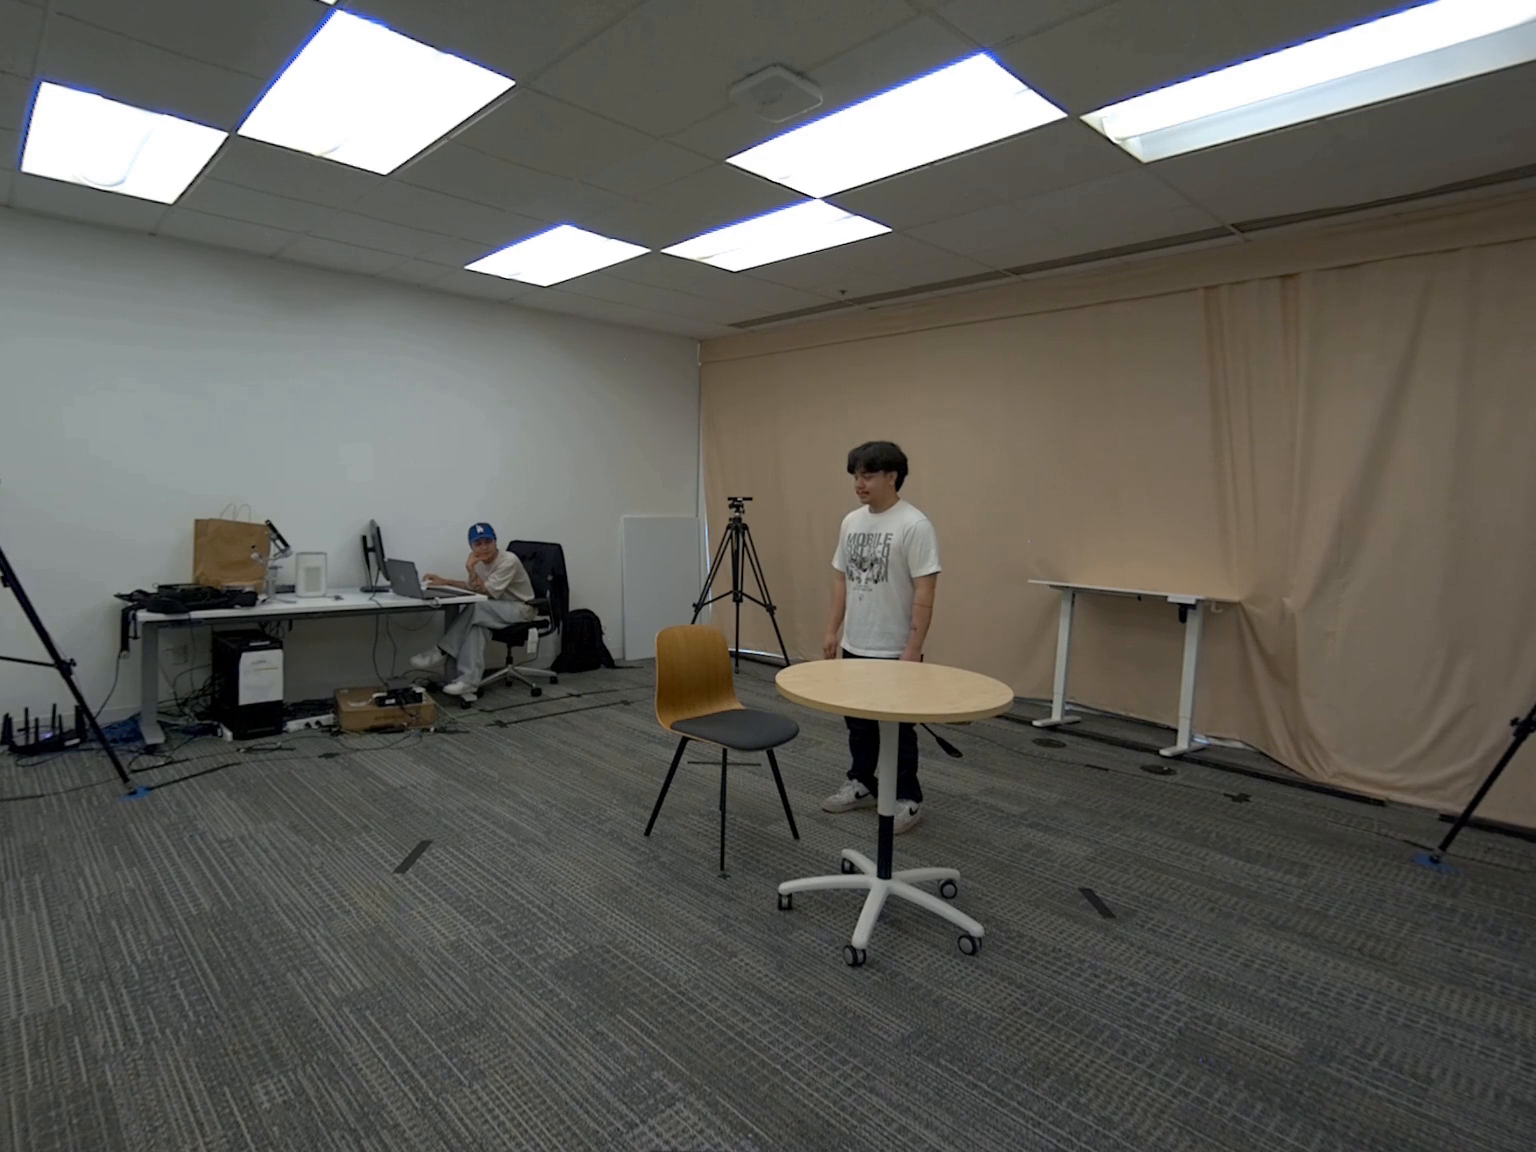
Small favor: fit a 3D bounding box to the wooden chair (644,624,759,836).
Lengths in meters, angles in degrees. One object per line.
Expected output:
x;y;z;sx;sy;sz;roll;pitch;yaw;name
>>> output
-0.180;0.651;3.425;0.535;0.878;0.467;-2;0;43;wooden chair
